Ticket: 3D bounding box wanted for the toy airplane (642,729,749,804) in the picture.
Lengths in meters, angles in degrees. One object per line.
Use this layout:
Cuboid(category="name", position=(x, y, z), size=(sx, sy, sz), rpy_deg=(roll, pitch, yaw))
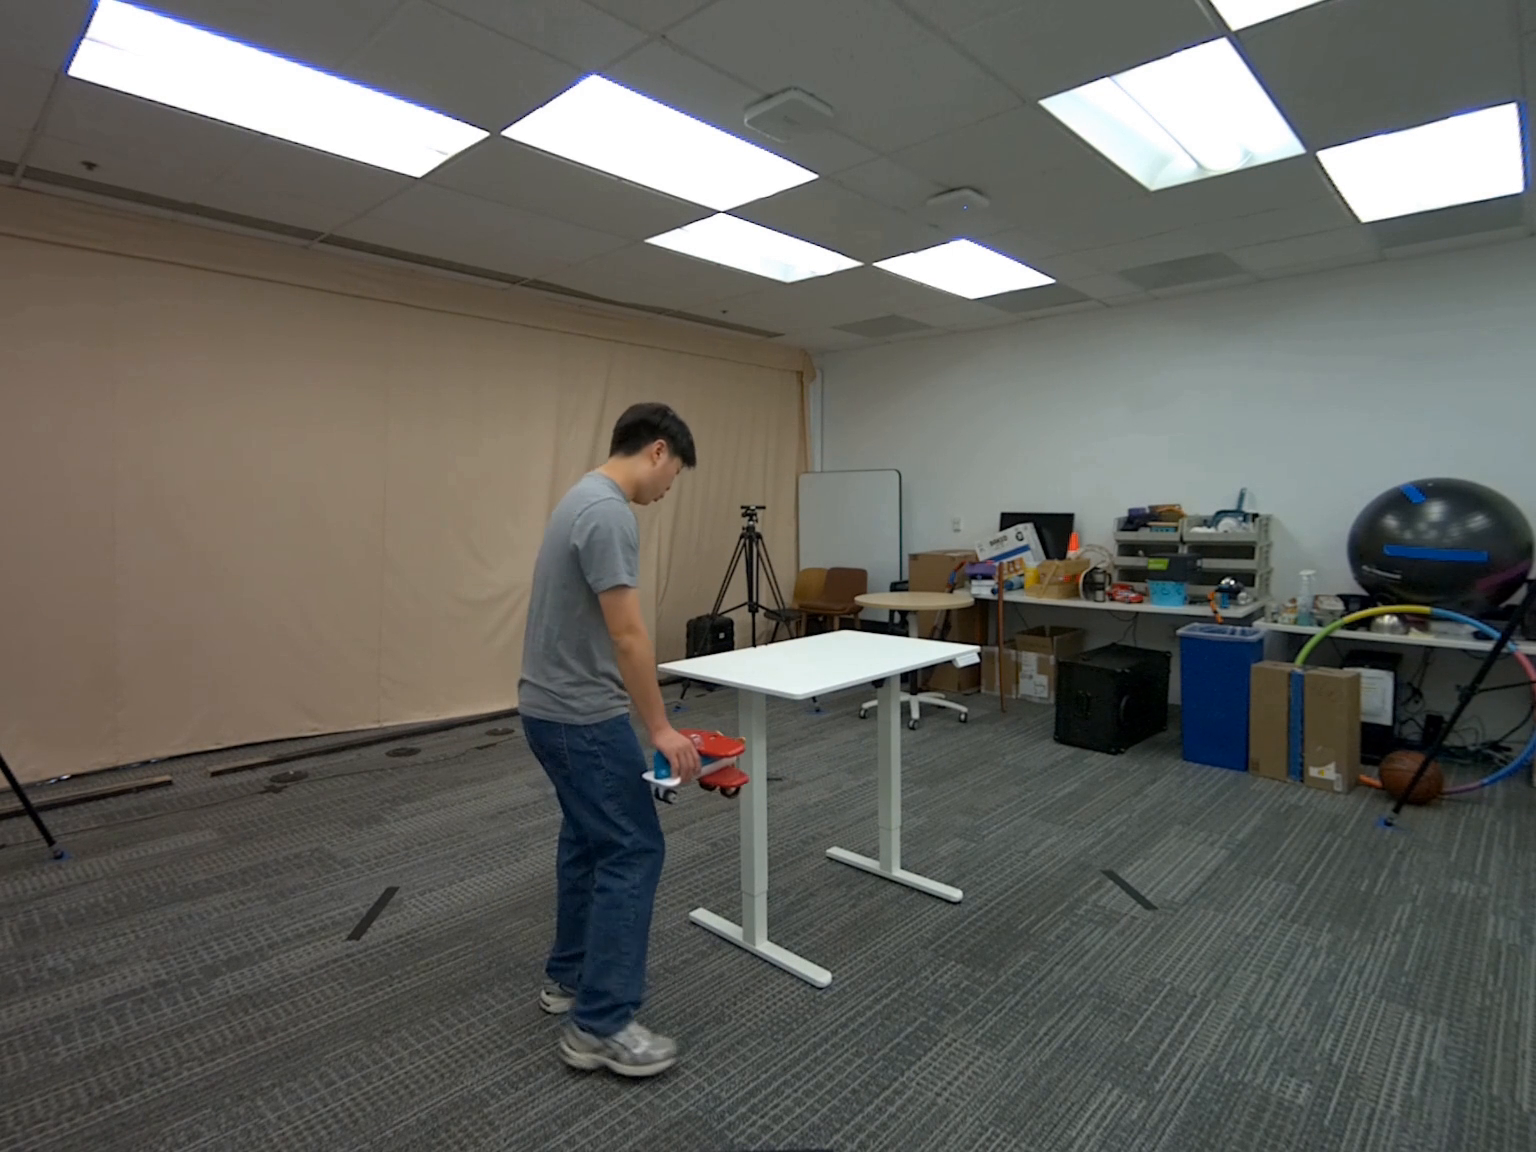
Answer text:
Cuboid(category="toy airplane", position=(-0.172, 0.494, 2.123), size=(0.257, 0.156, 0.253), rpy_deg=(3, -2, 21))
